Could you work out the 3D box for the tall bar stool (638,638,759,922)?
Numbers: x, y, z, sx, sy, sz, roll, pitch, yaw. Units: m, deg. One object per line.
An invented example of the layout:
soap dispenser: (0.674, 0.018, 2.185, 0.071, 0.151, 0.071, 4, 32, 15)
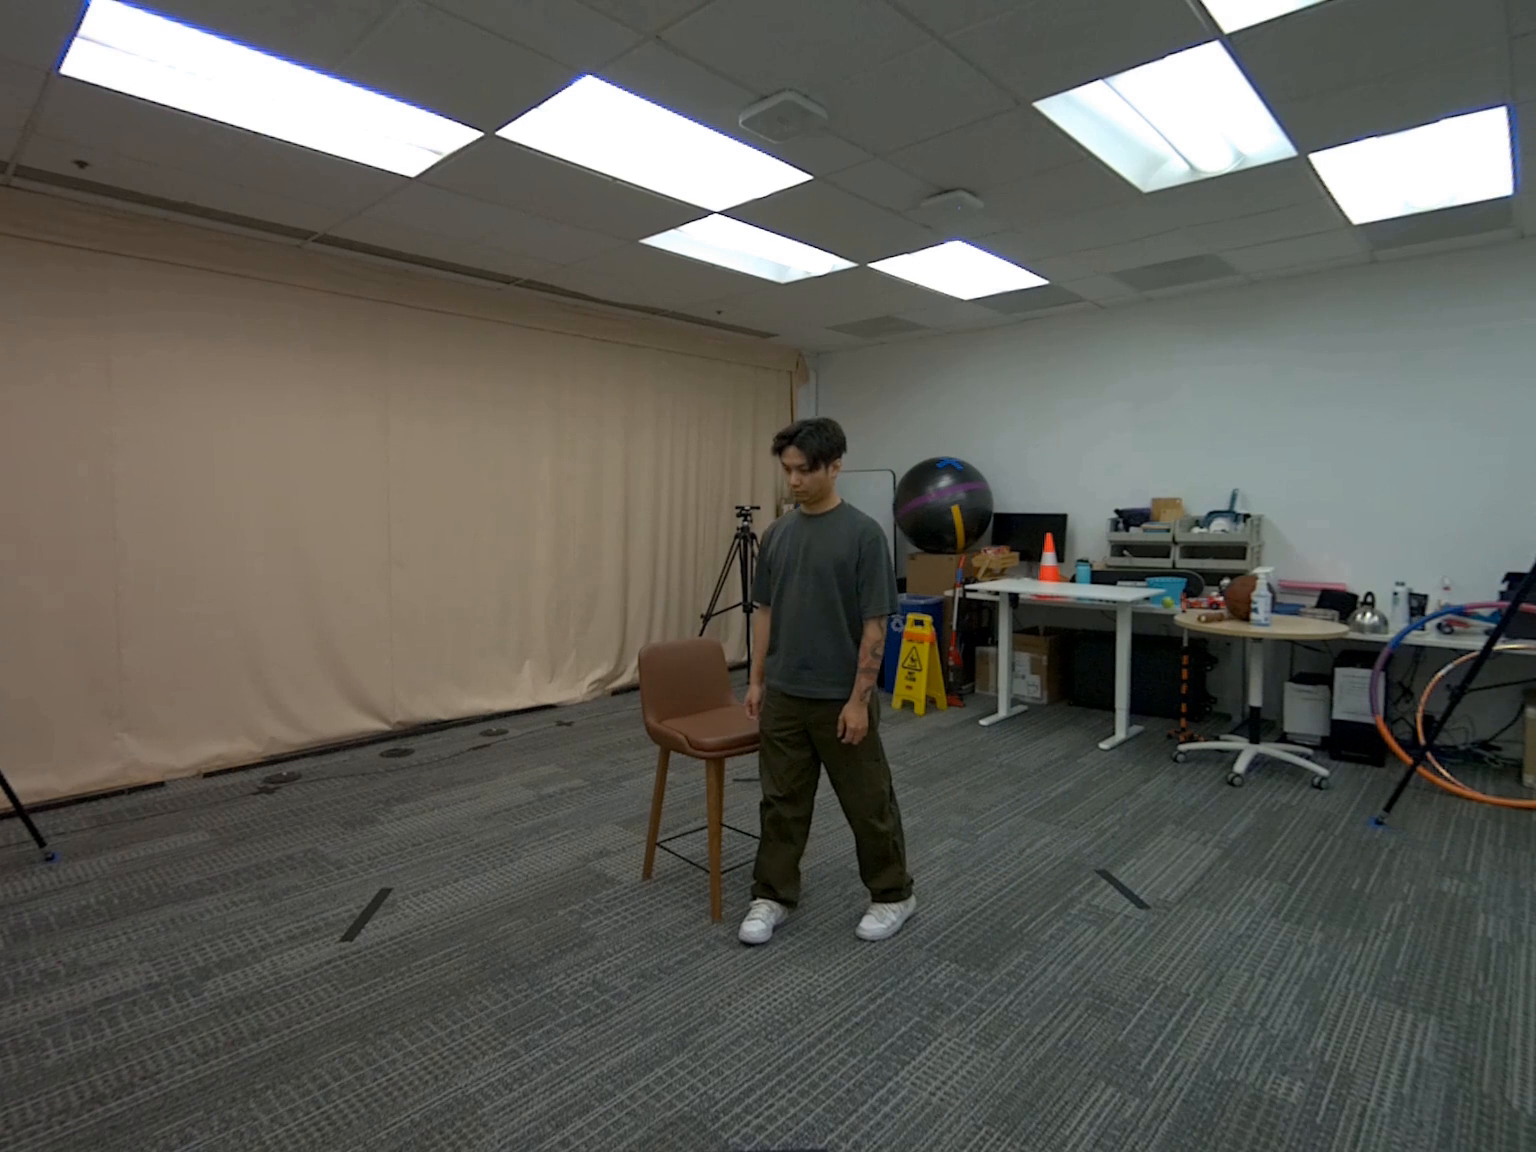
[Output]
tall bar stool: (-0.190, 0.699, 3.092, 0.442, 0.889, 0.483, -4, 3, -43)
